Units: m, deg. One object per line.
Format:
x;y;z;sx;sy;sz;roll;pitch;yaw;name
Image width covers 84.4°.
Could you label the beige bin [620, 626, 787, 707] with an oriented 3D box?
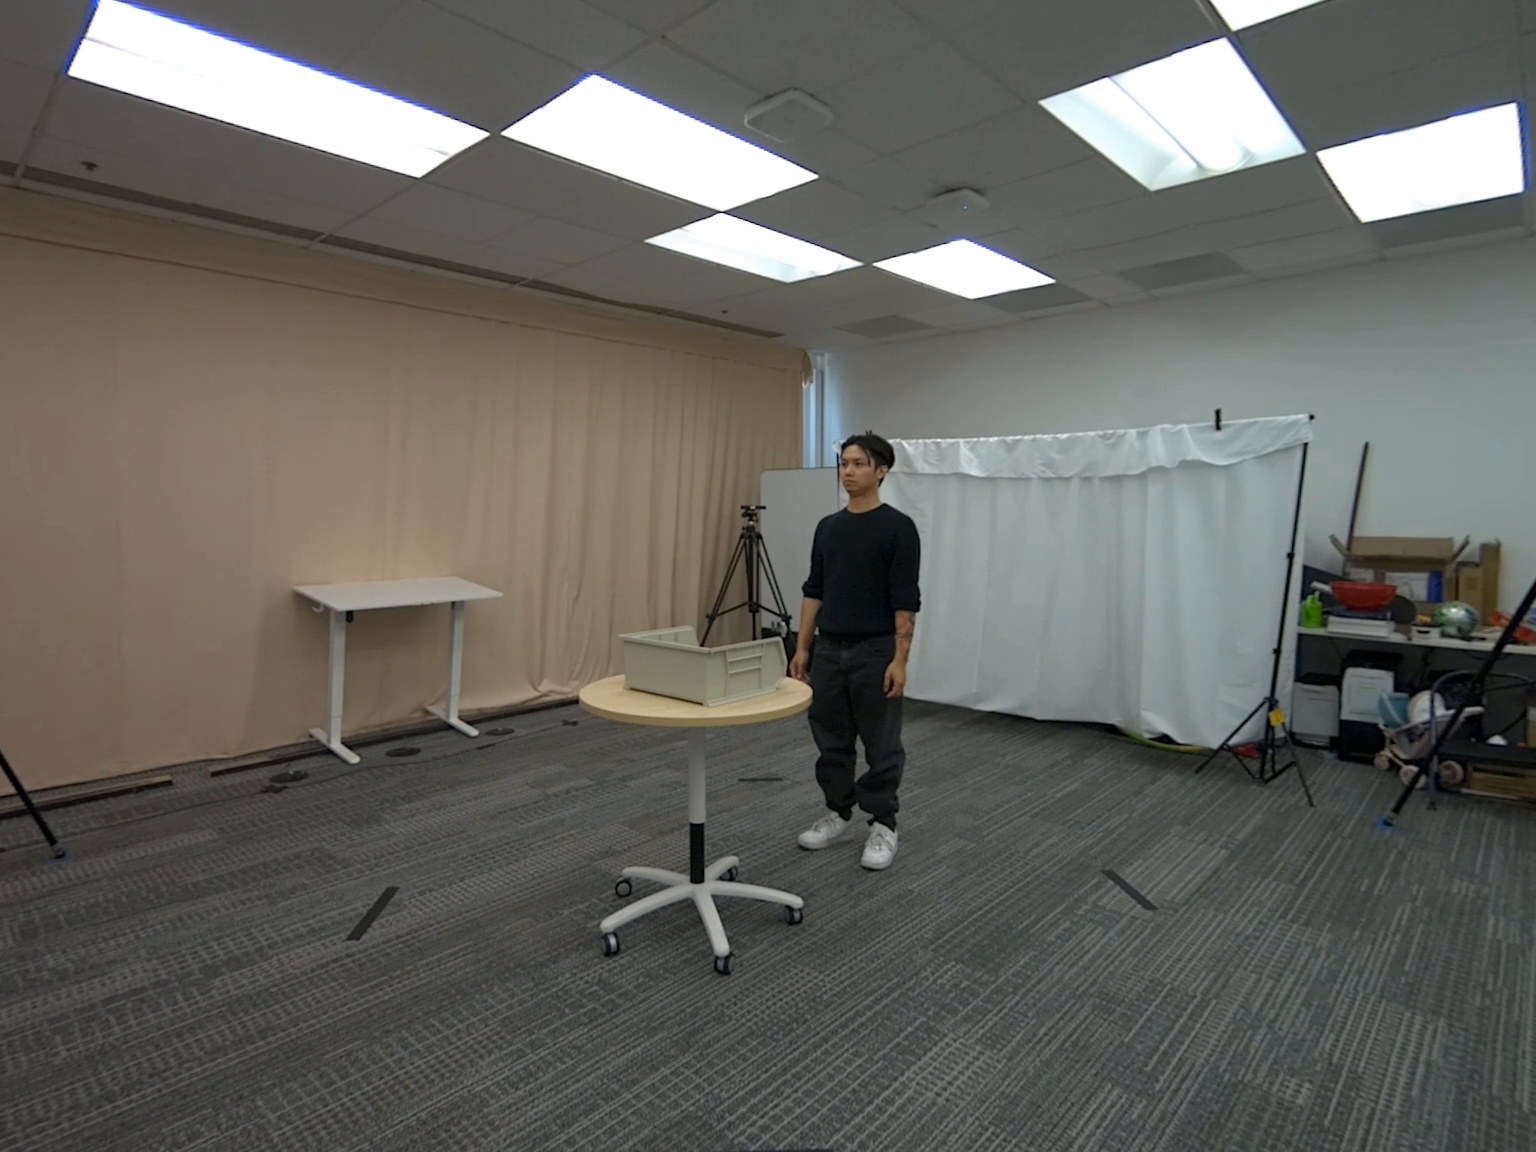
-0.213;0.288;2.791;0.436;0.188;0.366;4;7;42;beige bin
